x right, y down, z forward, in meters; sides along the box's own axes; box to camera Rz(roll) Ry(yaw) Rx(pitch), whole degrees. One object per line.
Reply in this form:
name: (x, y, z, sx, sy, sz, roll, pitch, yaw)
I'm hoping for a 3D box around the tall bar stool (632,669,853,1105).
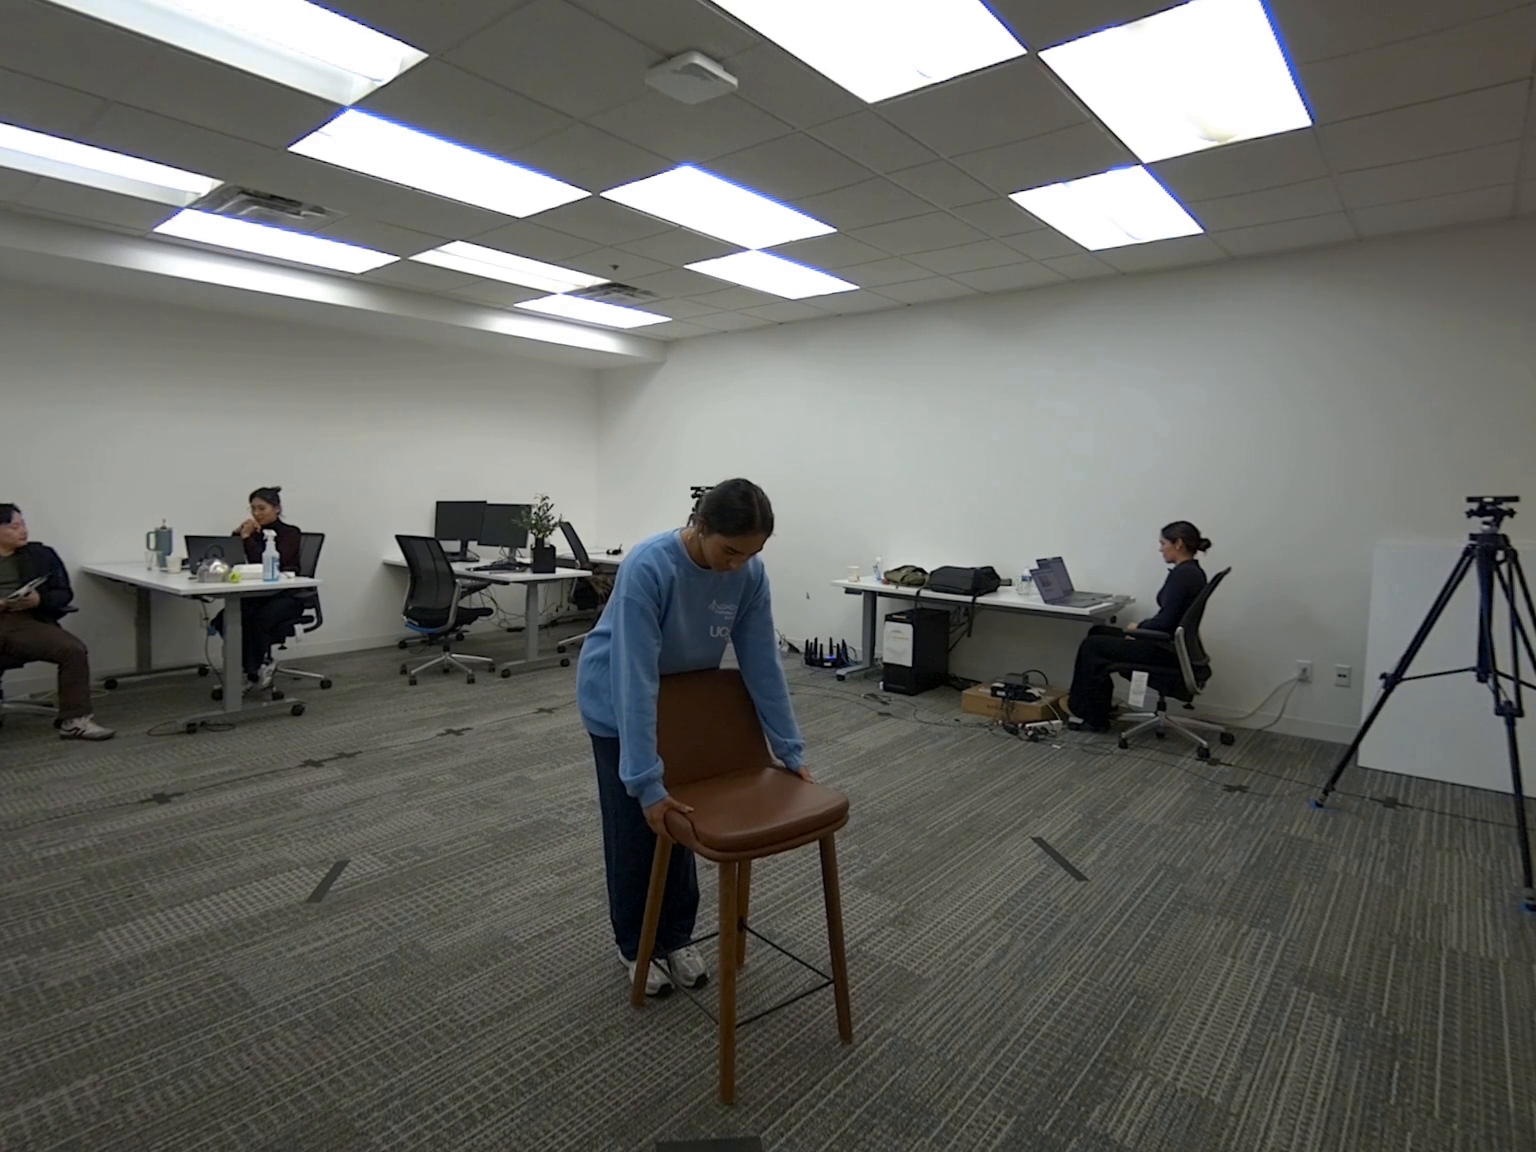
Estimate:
tall bar stool: (-0.080, 0.723, 2.187, 0.443, 0.888, 0.483, -1, 3, -39)
